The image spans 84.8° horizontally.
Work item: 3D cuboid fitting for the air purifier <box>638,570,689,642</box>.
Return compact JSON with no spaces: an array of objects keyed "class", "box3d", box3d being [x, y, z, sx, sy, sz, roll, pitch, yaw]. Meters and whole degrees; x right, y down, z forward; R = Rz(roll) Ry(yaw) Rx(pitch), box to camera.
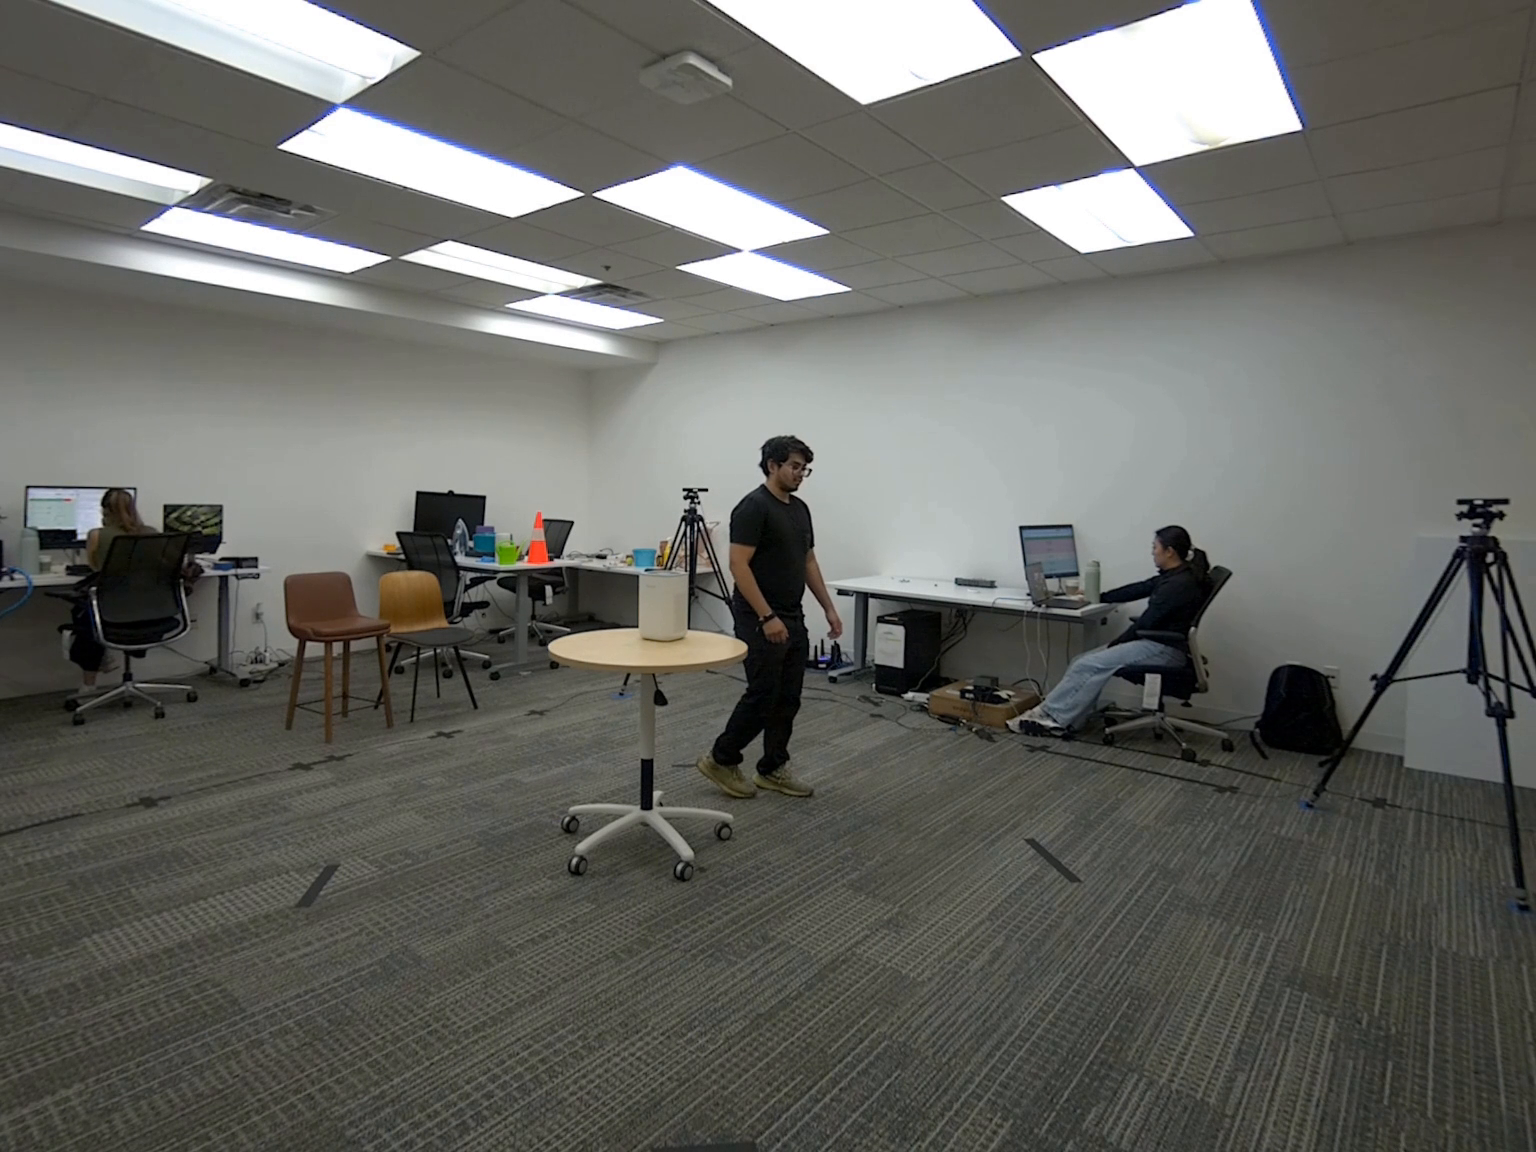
[{"class":"air purifier","box3d":[-0.436,0.117,3.435,0.176,0.264,0.167,4,6,27]}]
